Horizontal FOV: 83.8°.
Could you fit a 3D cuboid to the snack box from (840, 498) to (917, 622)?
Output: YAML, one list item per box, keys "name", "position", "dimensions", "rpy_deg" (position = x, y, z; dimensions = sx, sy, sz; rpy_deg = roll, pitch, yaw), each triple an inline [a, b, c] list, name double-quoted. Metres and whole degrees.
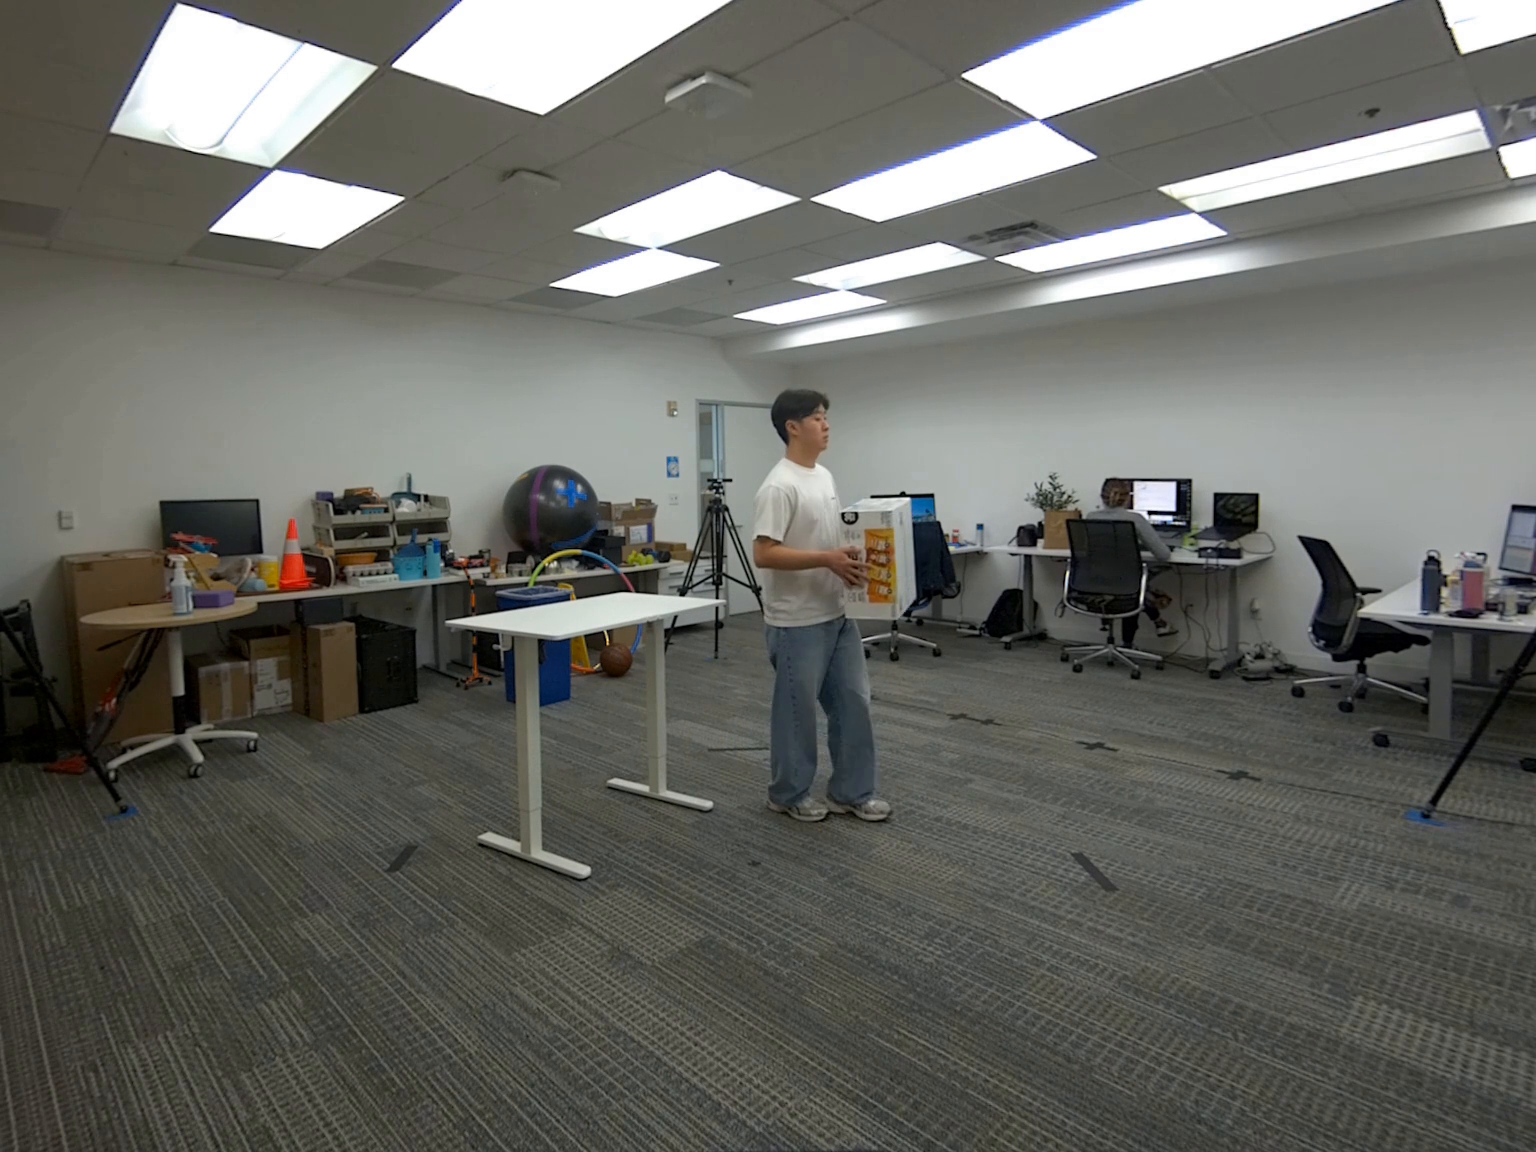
- name: "snack box"
  position: [0.428, -0.075, 3.284]
  dimensions: [0.210, 0.402, 0.336]
  rpy_deg: [-1, 10, 22]
